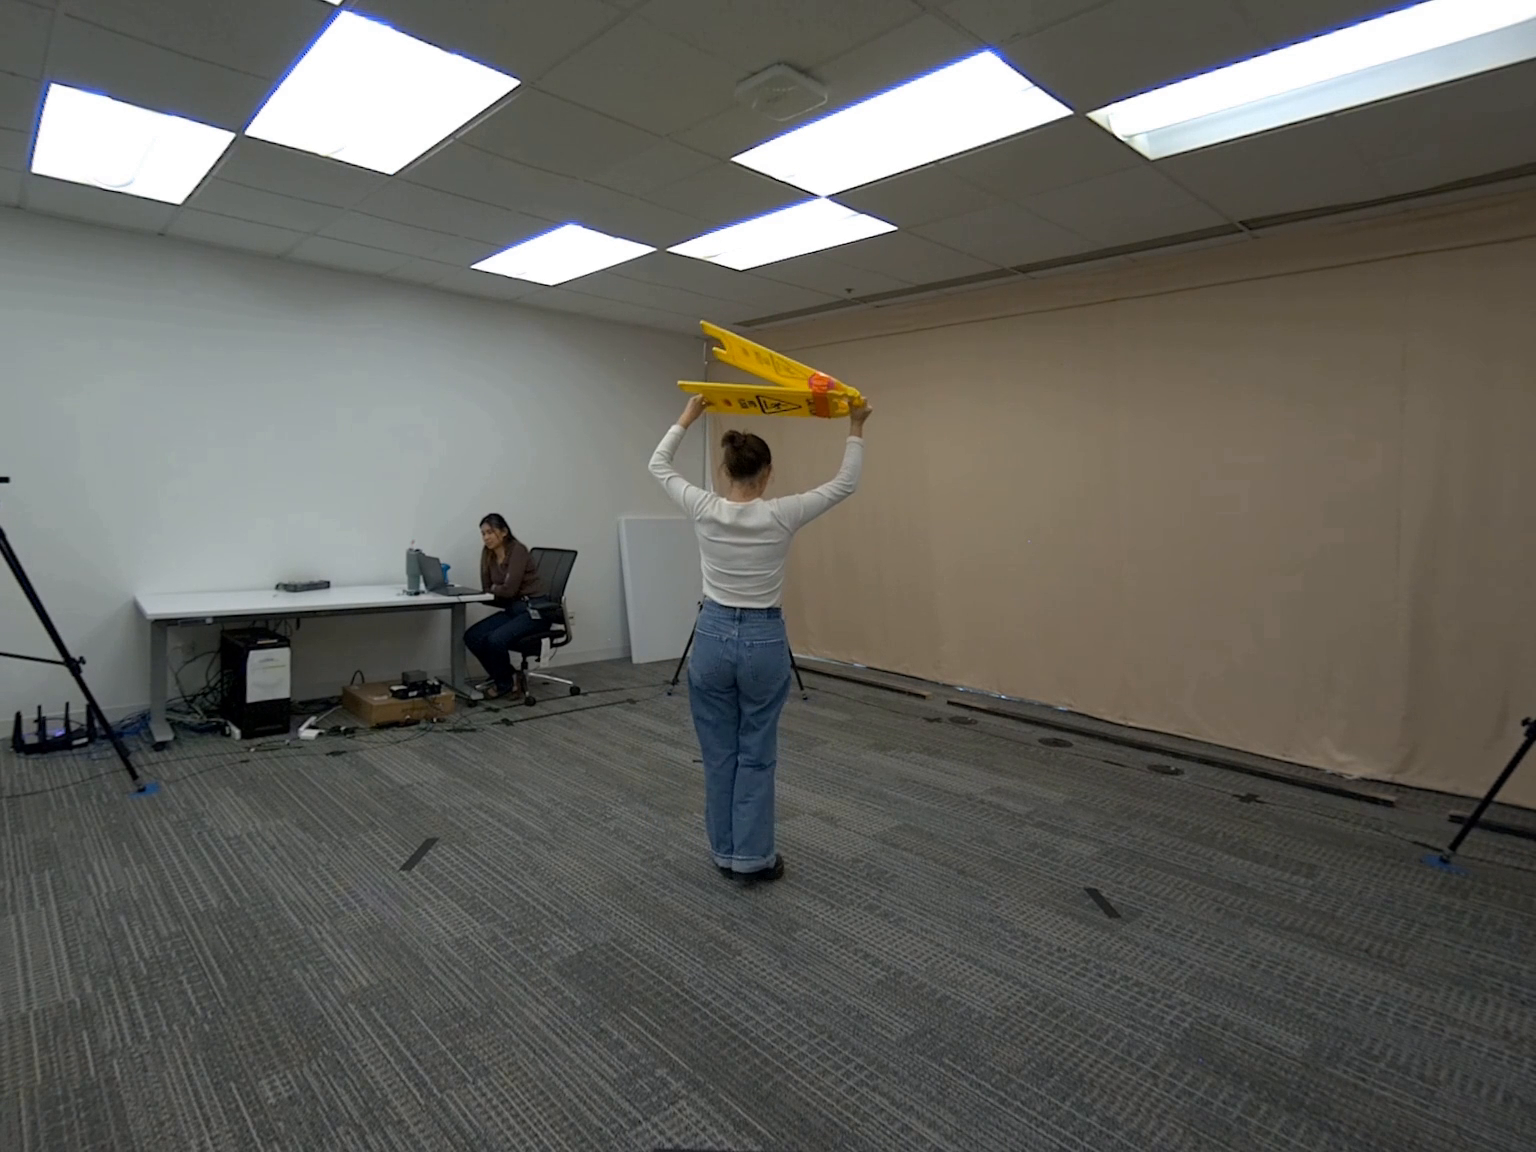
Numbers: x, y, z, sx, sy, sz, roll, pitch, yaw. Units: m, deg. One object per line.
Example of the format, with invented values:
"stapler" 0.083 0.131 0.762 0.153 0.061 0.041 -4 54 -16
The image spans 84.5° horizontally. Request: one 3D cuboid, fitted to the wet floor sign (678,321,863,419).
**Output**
"wet floor sign" 0.038 -0.700 3.103 0.655 0.291 0.277 15 -10 14
